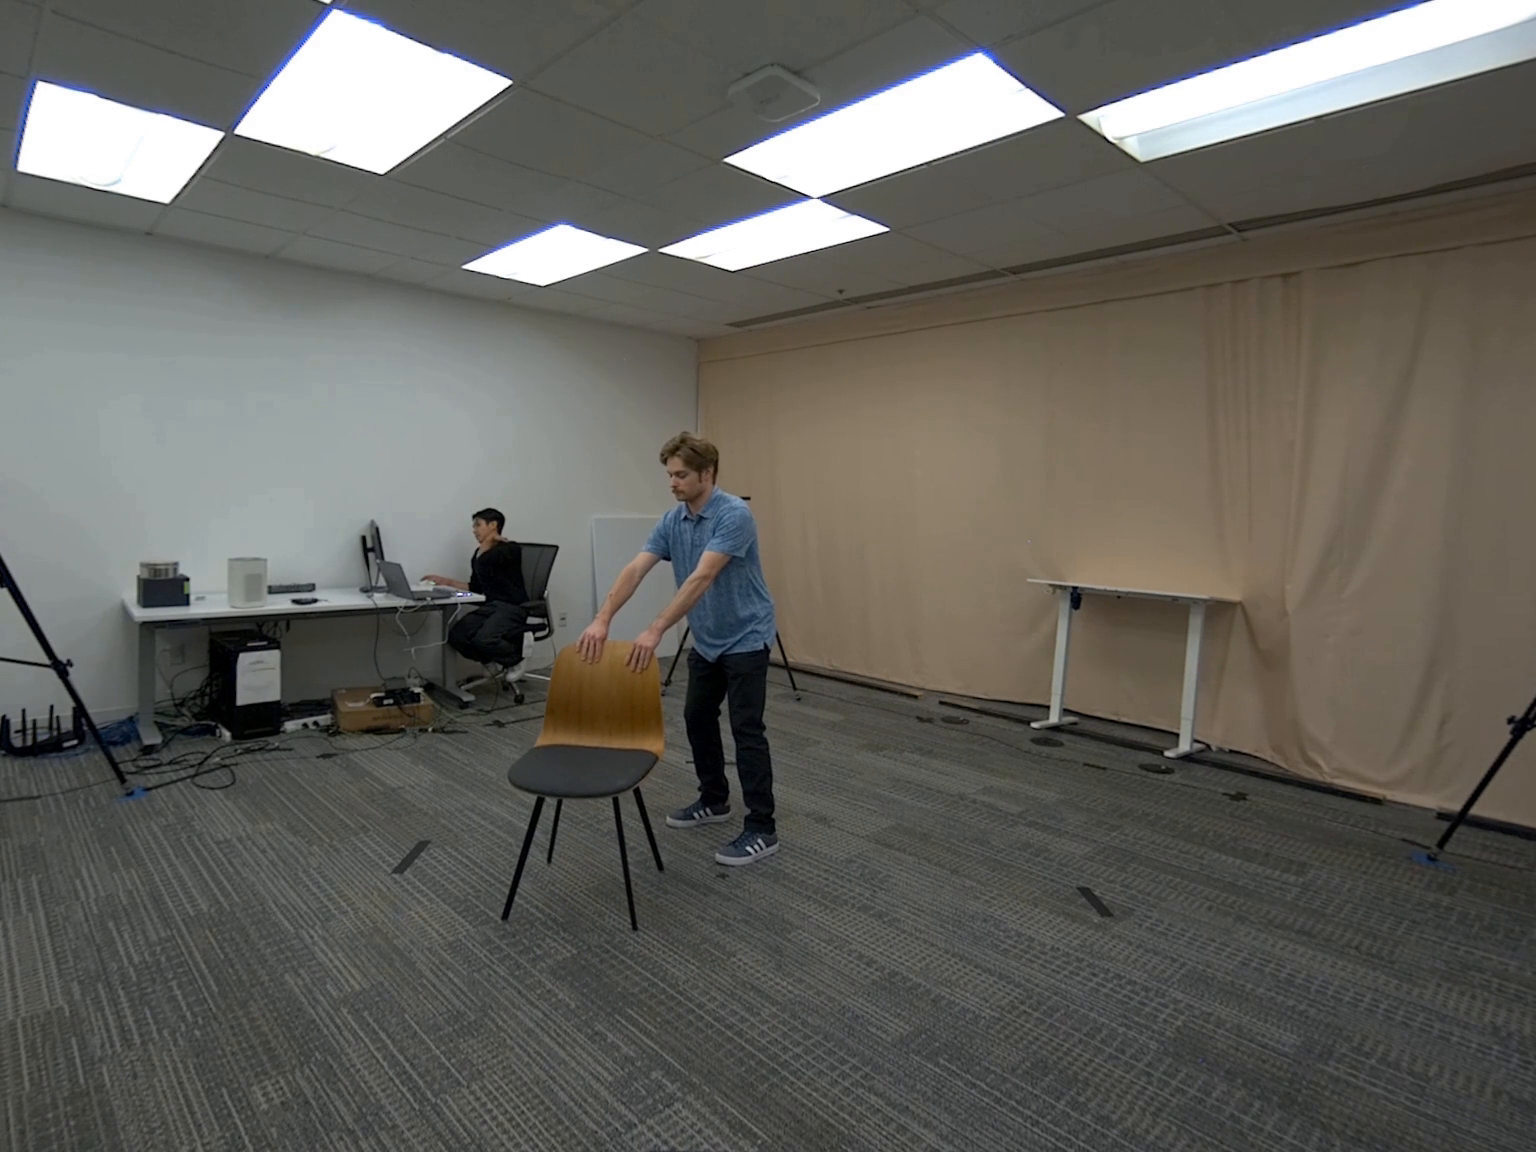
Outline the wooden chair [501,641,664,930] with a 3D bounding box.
[{"bbox_3d":[-0.619,0.687,2.901,0.480,0.878,0.520,2,-1,4],"label":"wooden chair"}]
